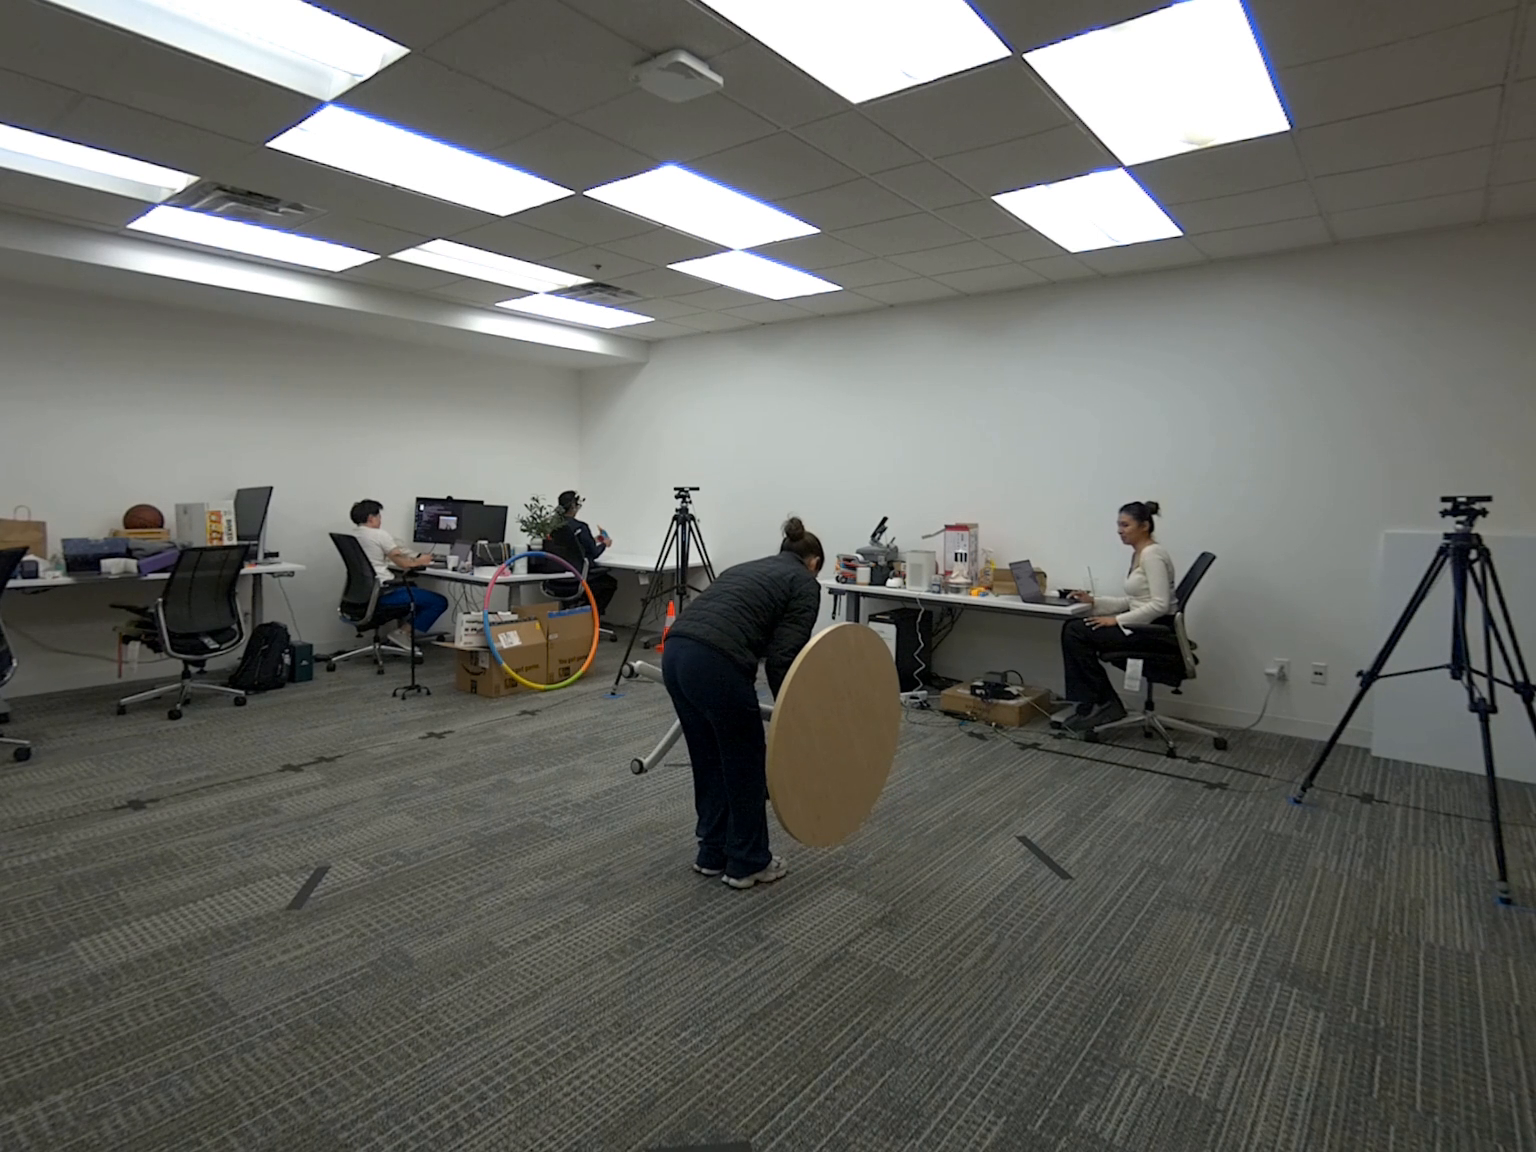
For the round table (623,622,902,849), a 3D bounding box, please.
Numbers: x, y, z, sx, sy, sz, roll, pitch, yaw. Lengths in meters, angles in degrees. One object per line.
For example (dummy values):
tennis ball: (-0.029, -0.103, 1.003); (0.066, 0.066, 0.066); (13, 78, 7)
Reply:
round table: (-0.043, 0.511, 3.198); (0.813, 0.782, 0.762); (5, 6, 41)
